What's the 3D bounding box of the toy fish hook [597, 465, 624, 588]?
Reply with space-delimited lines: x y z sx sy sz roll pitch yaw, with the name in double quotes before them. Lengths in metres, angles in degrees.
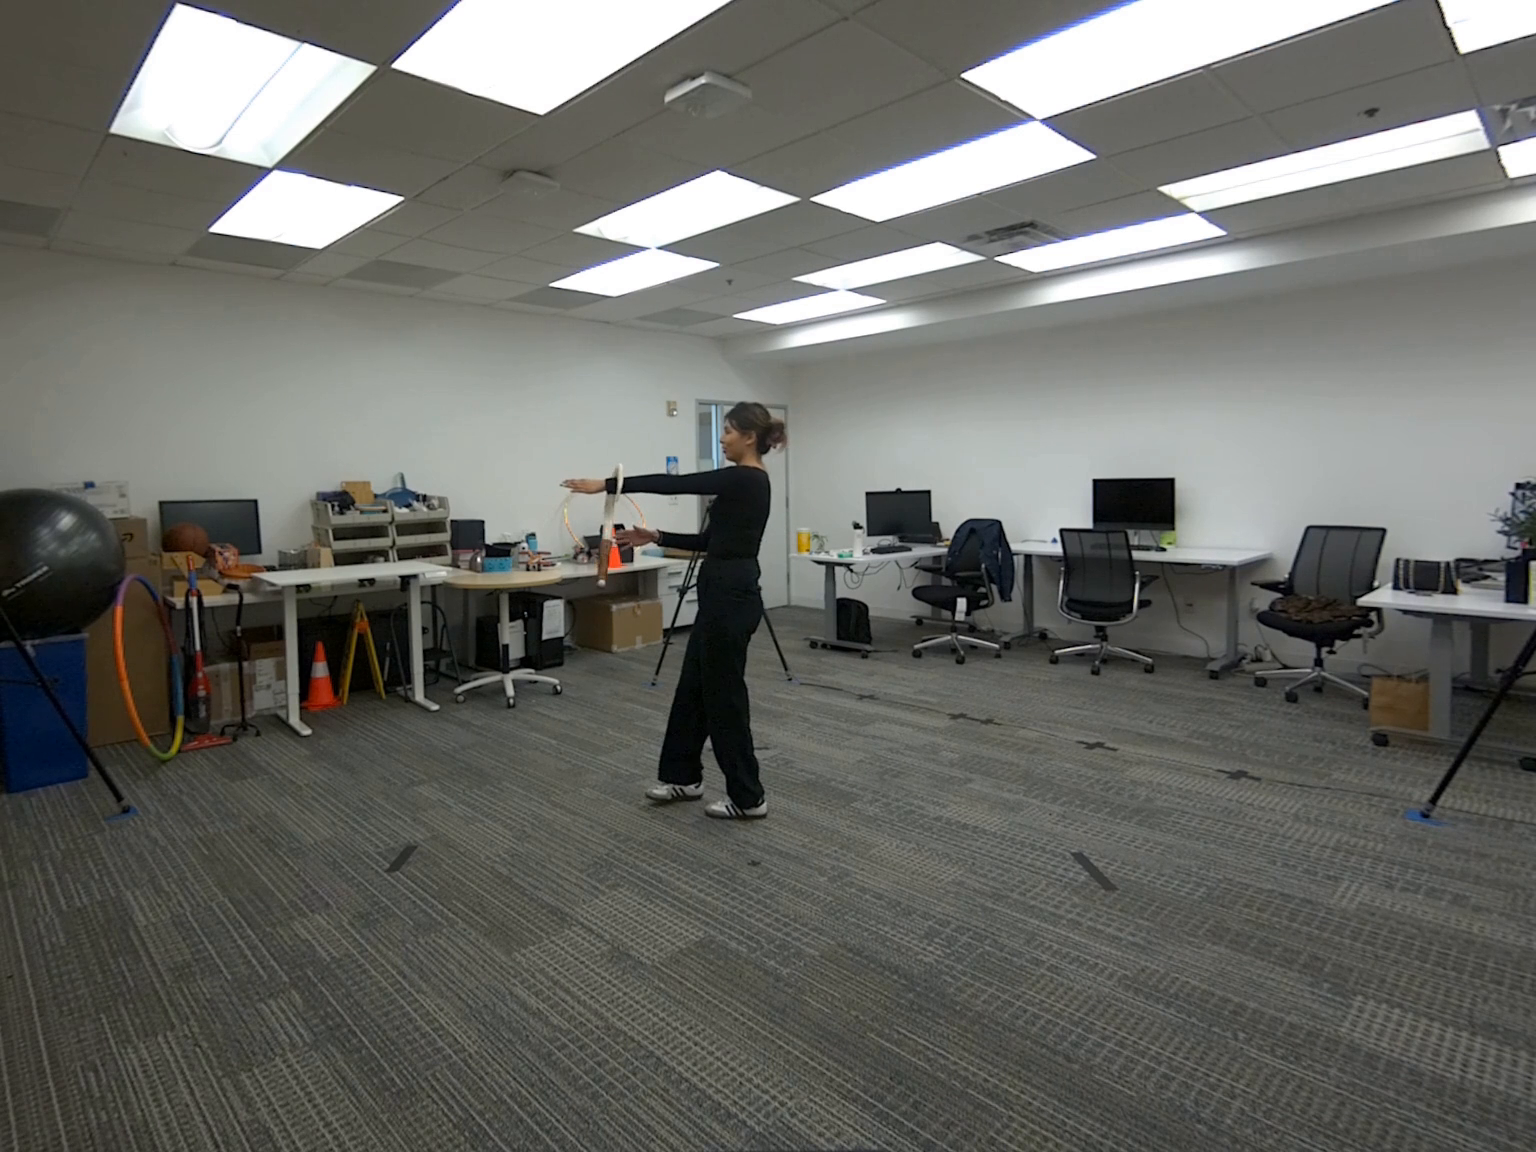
"toy fish hook" -0.622 -0.209 3.356 0.048 0.517 0.222 6 -25 -9
